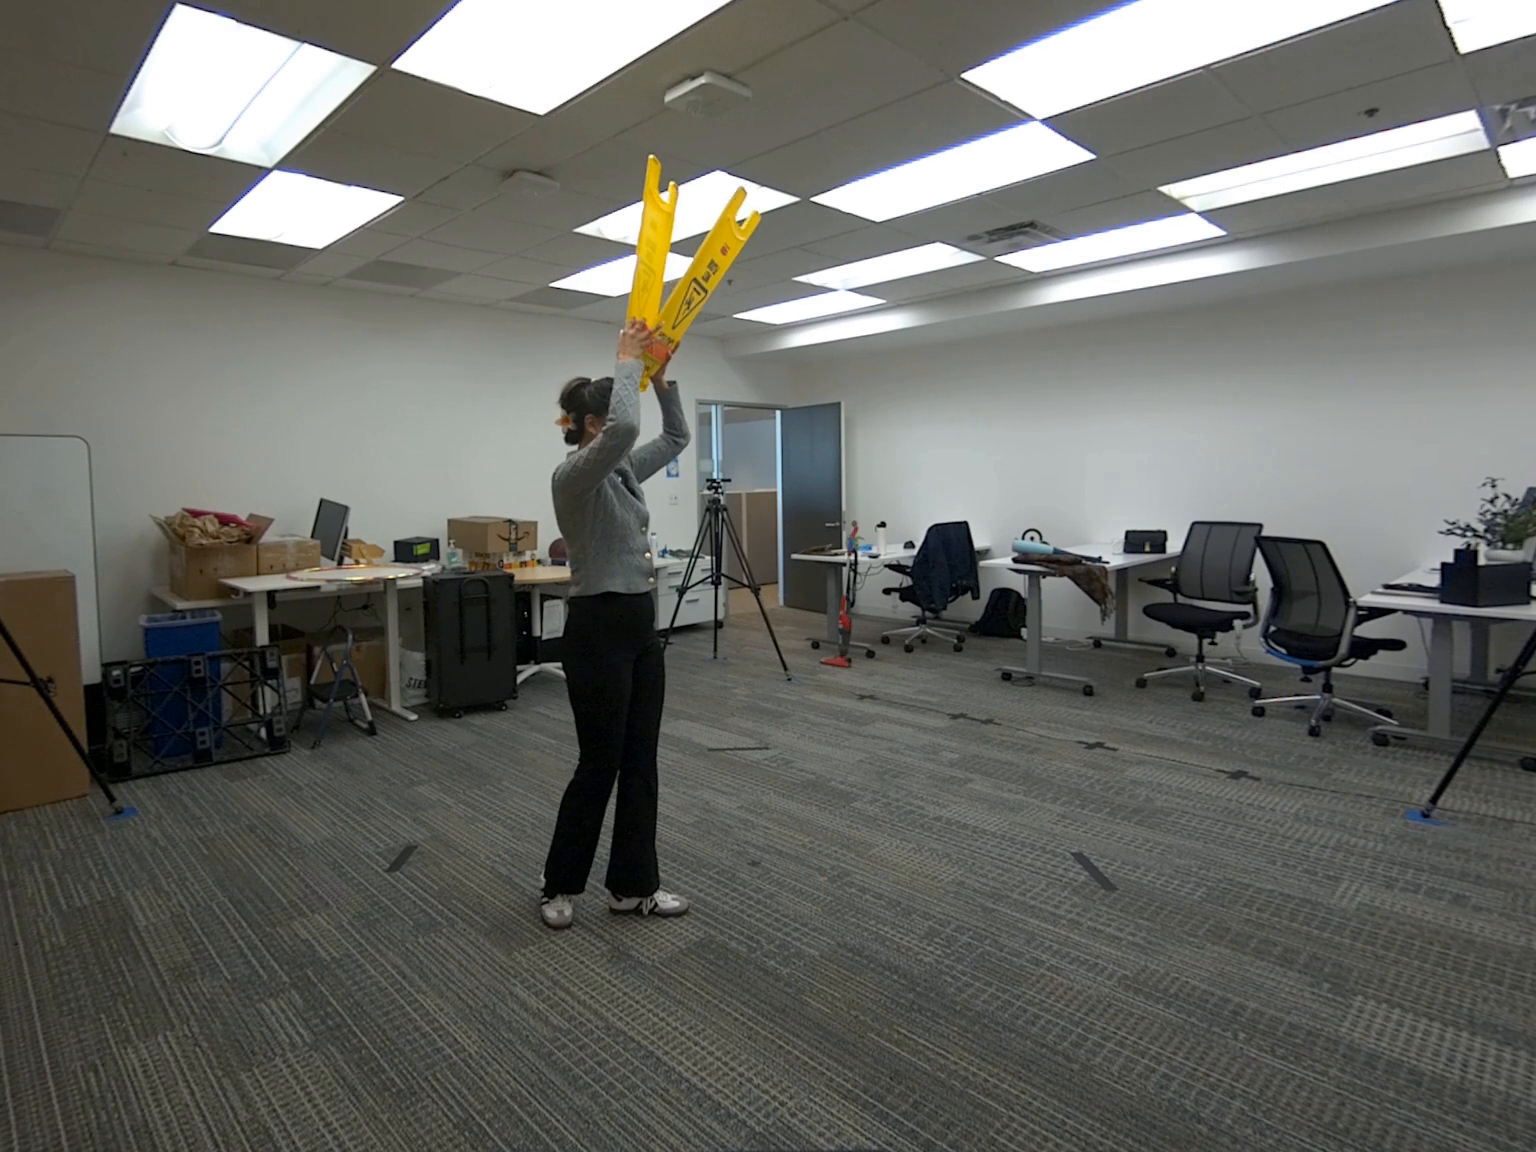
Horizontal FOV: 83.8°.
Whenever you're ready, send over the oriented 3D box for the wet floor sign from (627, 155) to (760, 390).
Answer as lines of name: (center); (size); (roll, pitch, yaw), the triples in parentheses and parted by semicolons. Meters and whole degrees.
wet floor sign: (-0.301, -0.876, 2.597); (0.294, 0.644, 0.279); (24, 6, 10)
